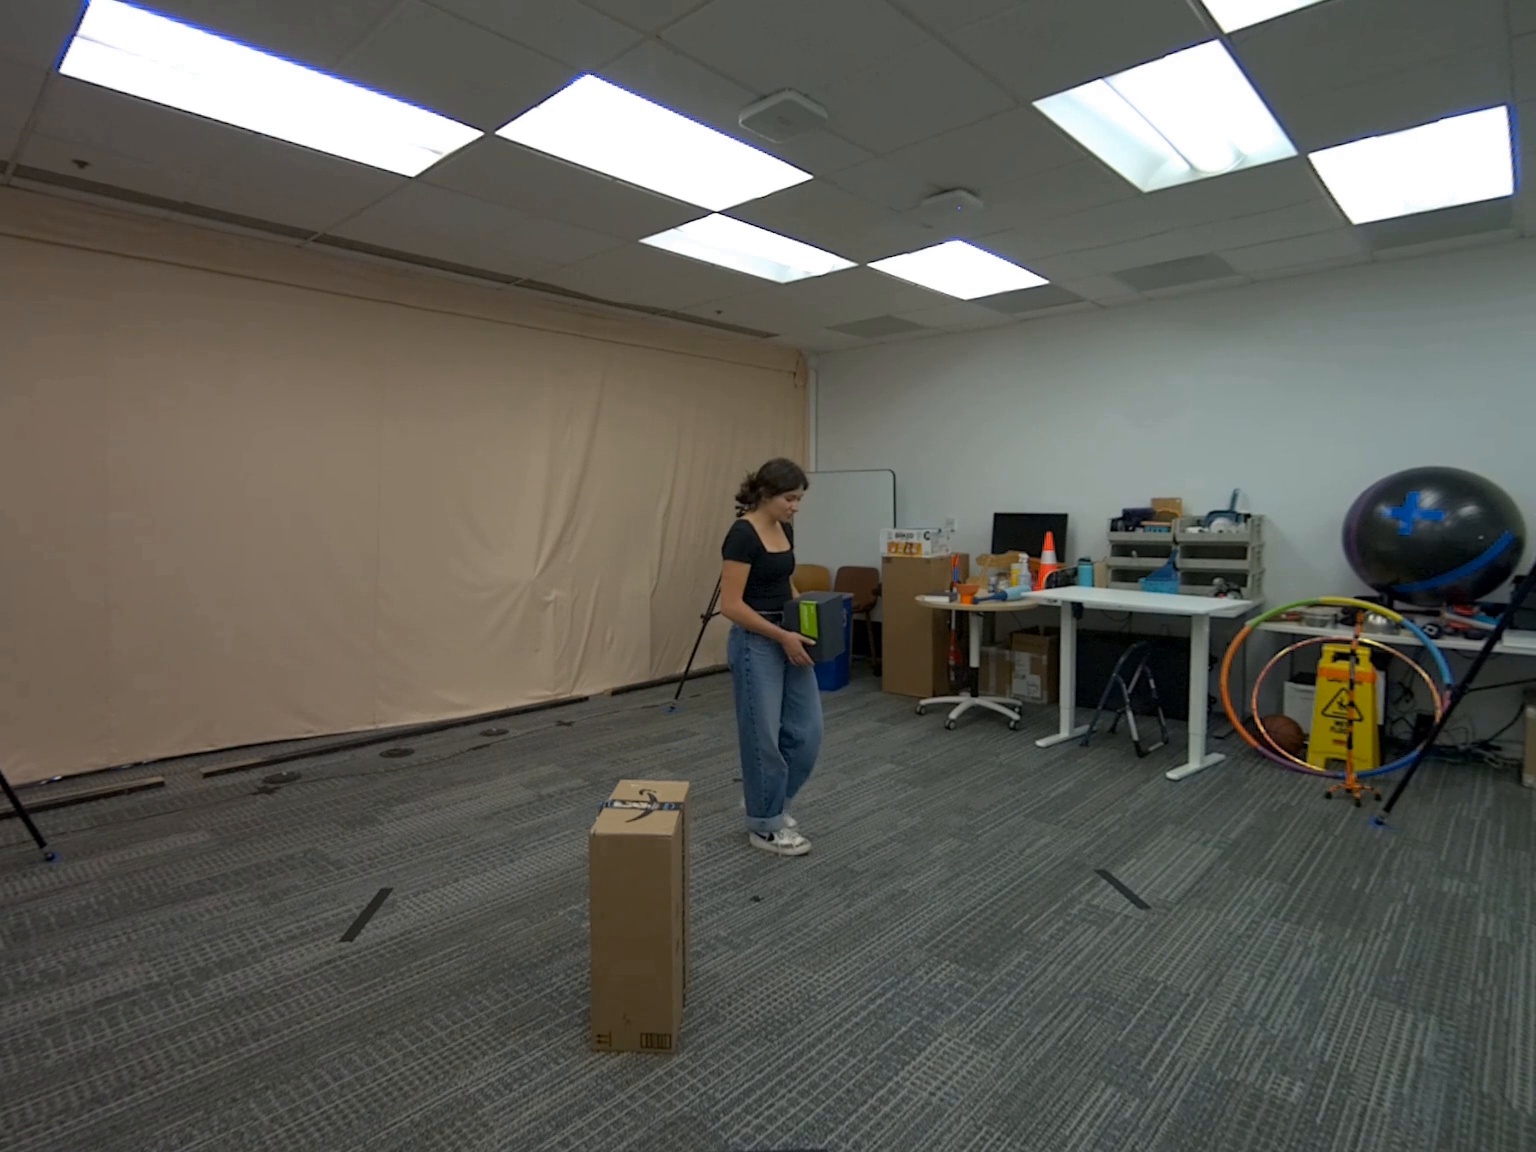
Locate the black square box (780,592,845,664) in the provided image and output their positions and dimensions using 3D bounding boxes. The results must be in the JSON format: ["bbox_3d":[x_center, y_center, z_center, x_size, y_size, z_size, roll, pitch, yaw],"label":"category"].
[{"bbox_3d":[0.181,0.194,3.264,0.160,0.226,0.212,3,11,30],"label":"black square box"}]
